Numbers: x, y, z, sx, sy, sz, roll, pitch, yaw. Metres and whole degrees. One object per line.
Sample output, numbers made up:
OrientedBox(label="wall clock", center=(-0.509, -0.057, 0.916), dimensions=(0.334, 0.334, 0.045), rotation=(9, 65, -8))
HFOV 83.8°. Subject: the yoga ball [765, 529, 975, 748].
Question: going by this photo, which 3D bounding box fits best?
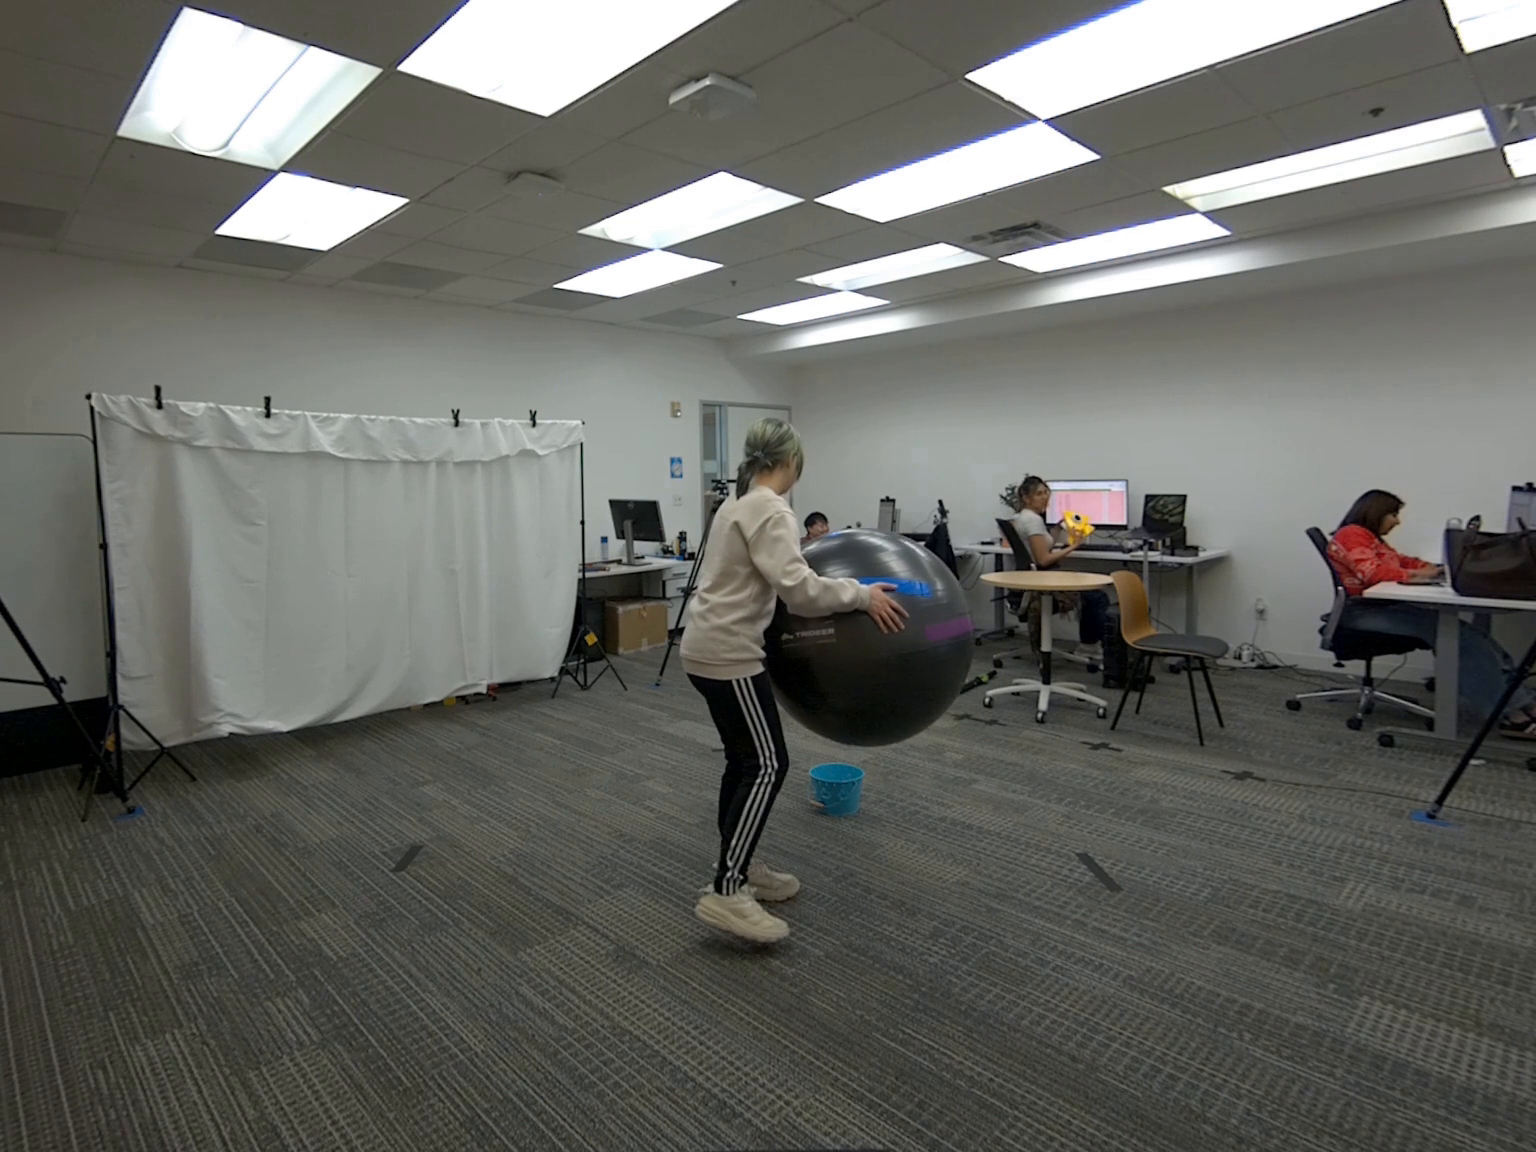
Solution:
OrientedBox(label="yoga ball", center=(0.335, 0.220, 3.009), dimensions=(0.757, 0.755, 0.762), rotation=(-1, 5, -2))
